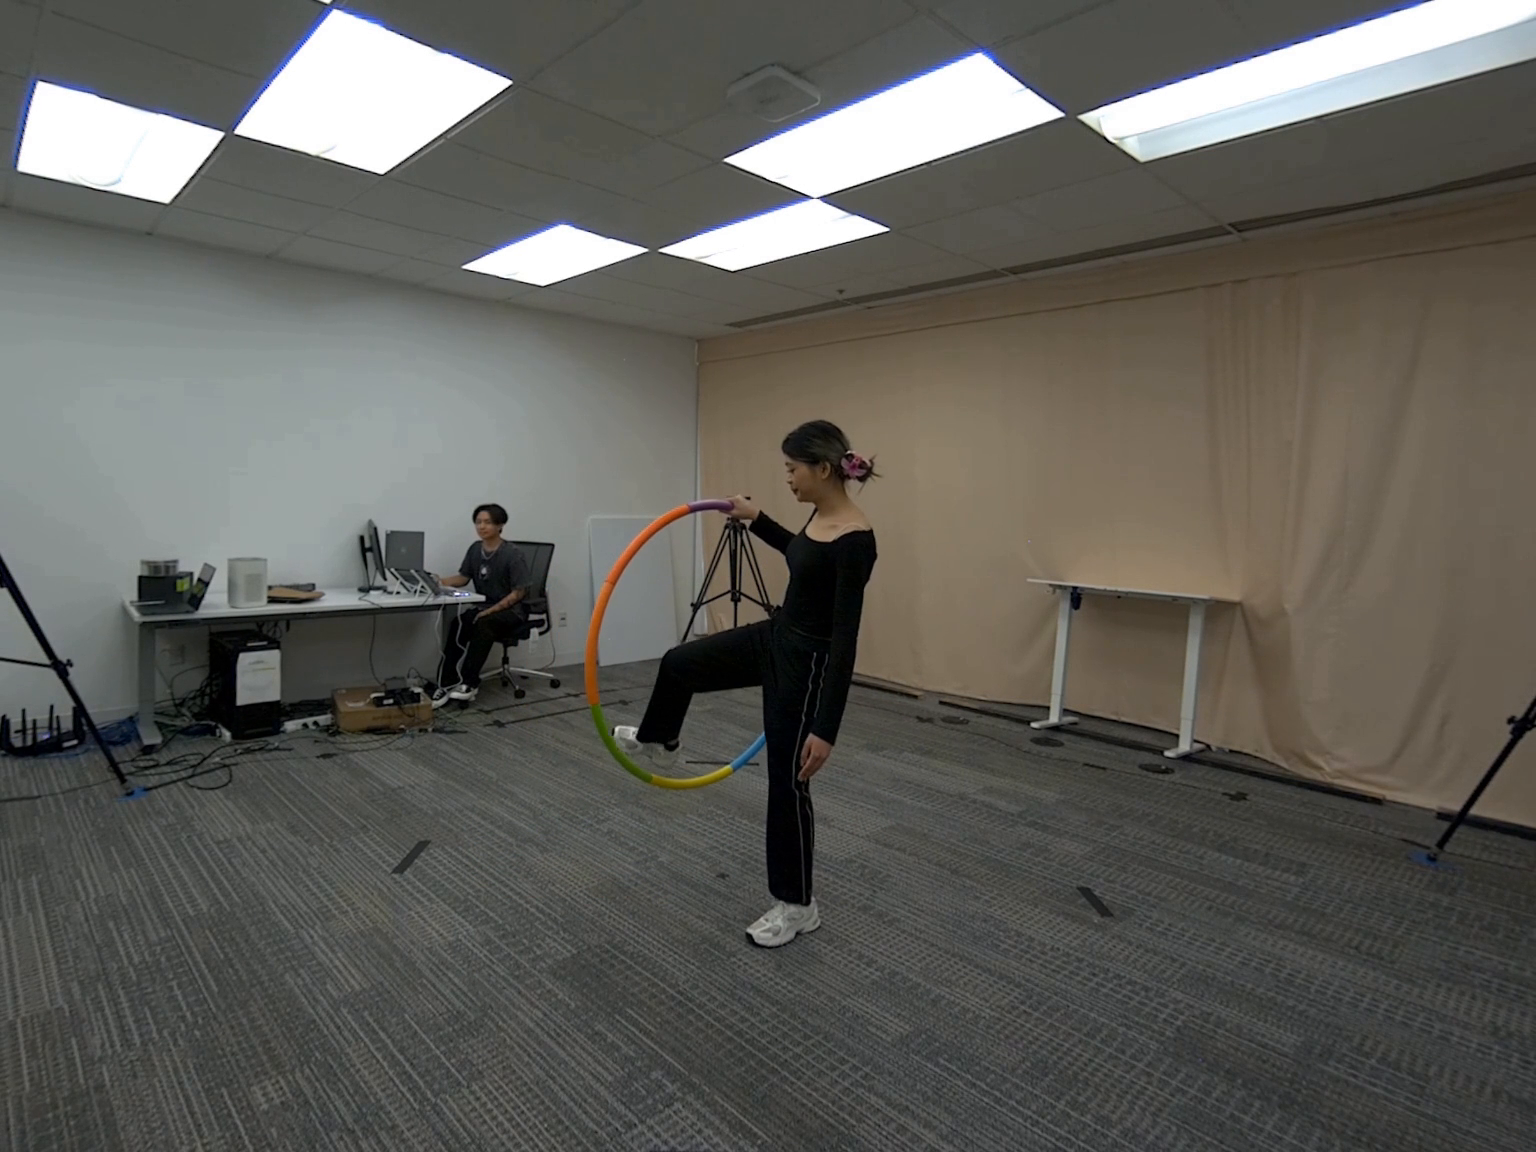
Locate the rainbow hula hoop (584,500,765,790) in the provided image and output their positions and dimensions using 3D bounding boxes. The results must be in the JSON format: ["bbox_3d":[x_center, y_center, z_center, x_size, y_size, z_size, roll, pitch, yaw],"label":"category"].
[{"bbox_3d":[-0.201,0.233,2.853,0.956,0.974,0.036,-3,9,-43],"label":"rainbow hula hoop"}]
